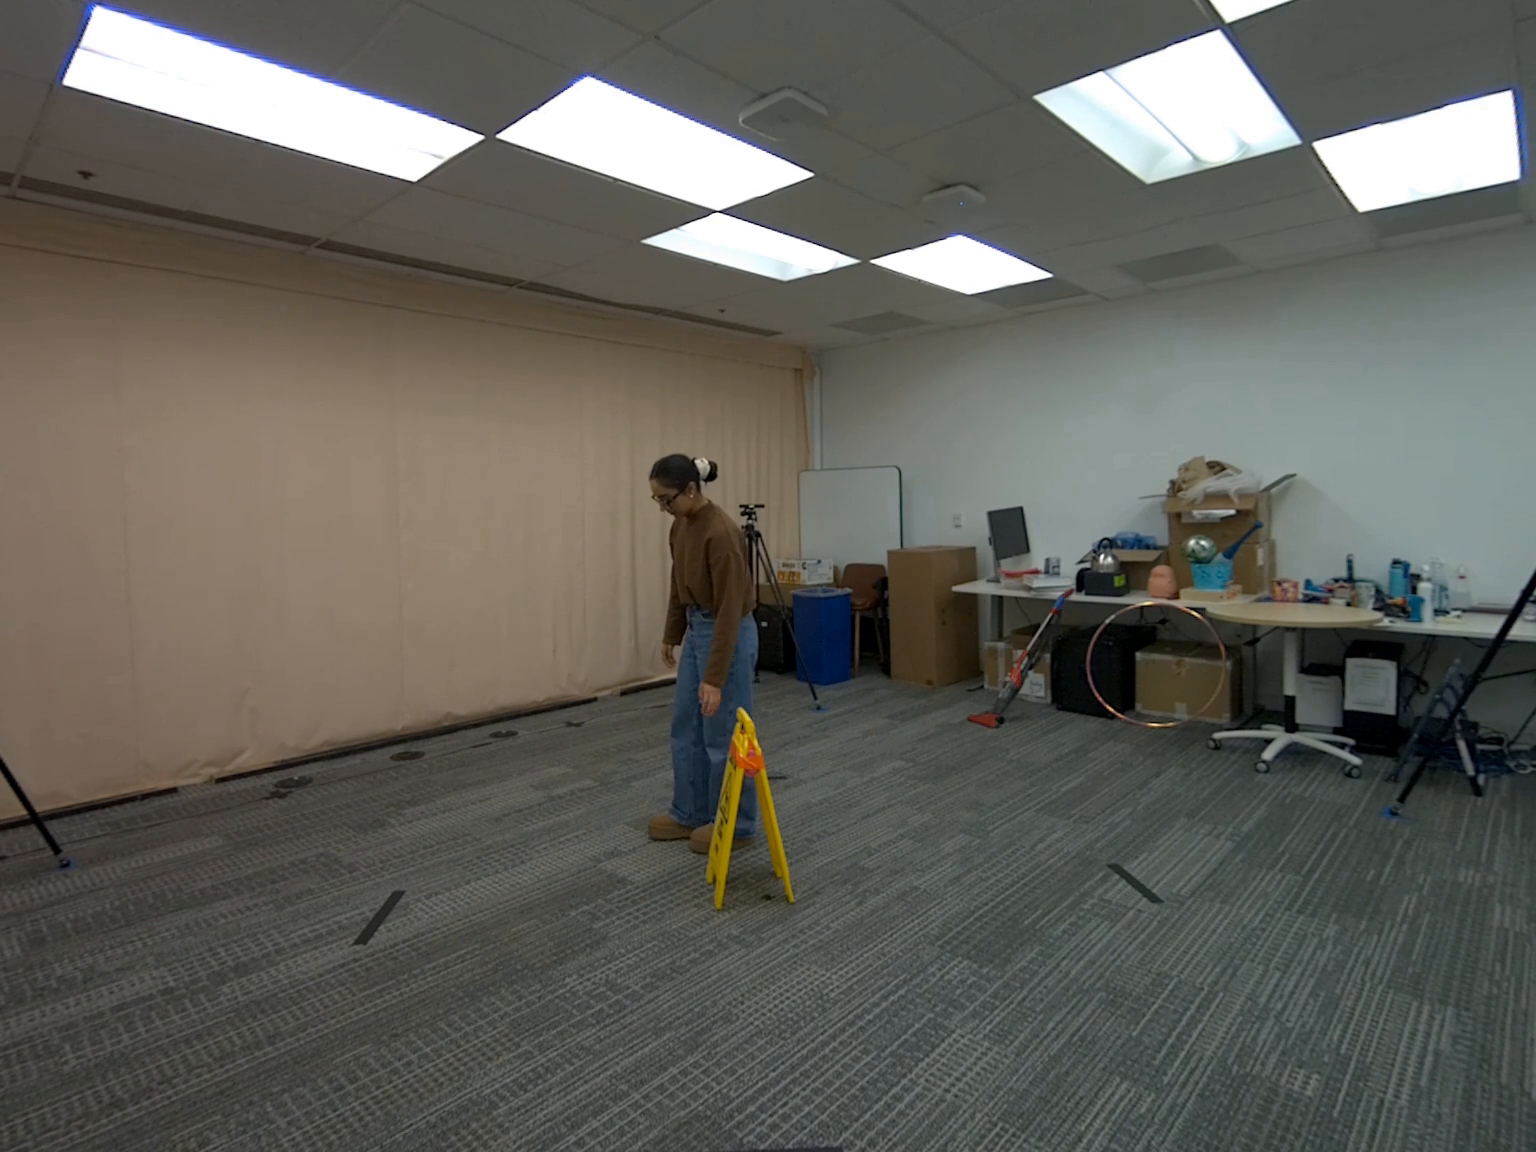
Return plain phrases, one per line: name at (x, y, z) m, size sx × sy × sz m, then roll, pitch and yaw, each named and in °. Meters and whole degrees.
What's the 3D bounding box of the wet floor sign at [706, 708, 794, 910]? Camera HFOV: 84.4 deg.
wet floor sign at (-0.076, 0.814, 3.023) m, size 0.287 × 0.645 × 0.285 m, roll -2°, pitch 3°, yaw -10°
